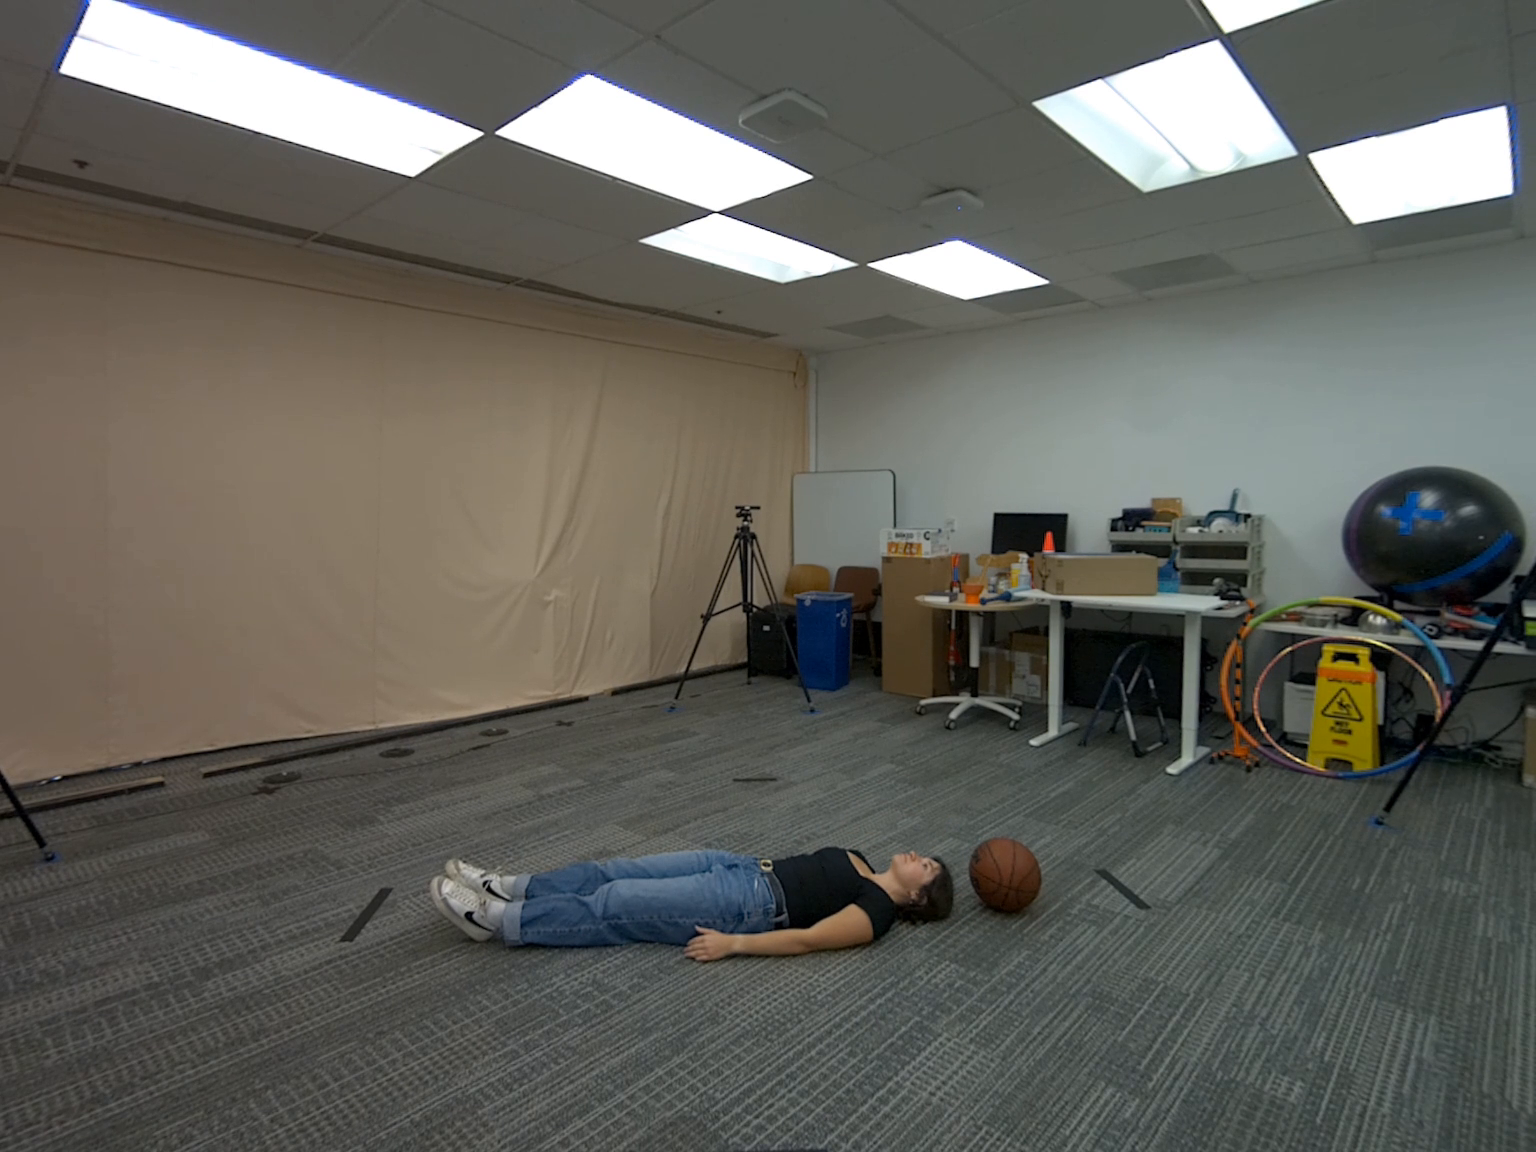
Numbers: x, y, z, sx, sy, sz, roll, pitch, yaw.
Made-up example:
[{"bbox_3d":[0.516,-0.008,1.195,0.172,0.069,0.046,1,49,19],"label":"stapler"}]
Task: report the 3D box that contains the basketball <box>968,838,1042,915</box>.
[{"bbox_3d":[0.830,1.031,2.908,0.236,0.235,0.237,0,4,-2],"label":"basketball"}]
